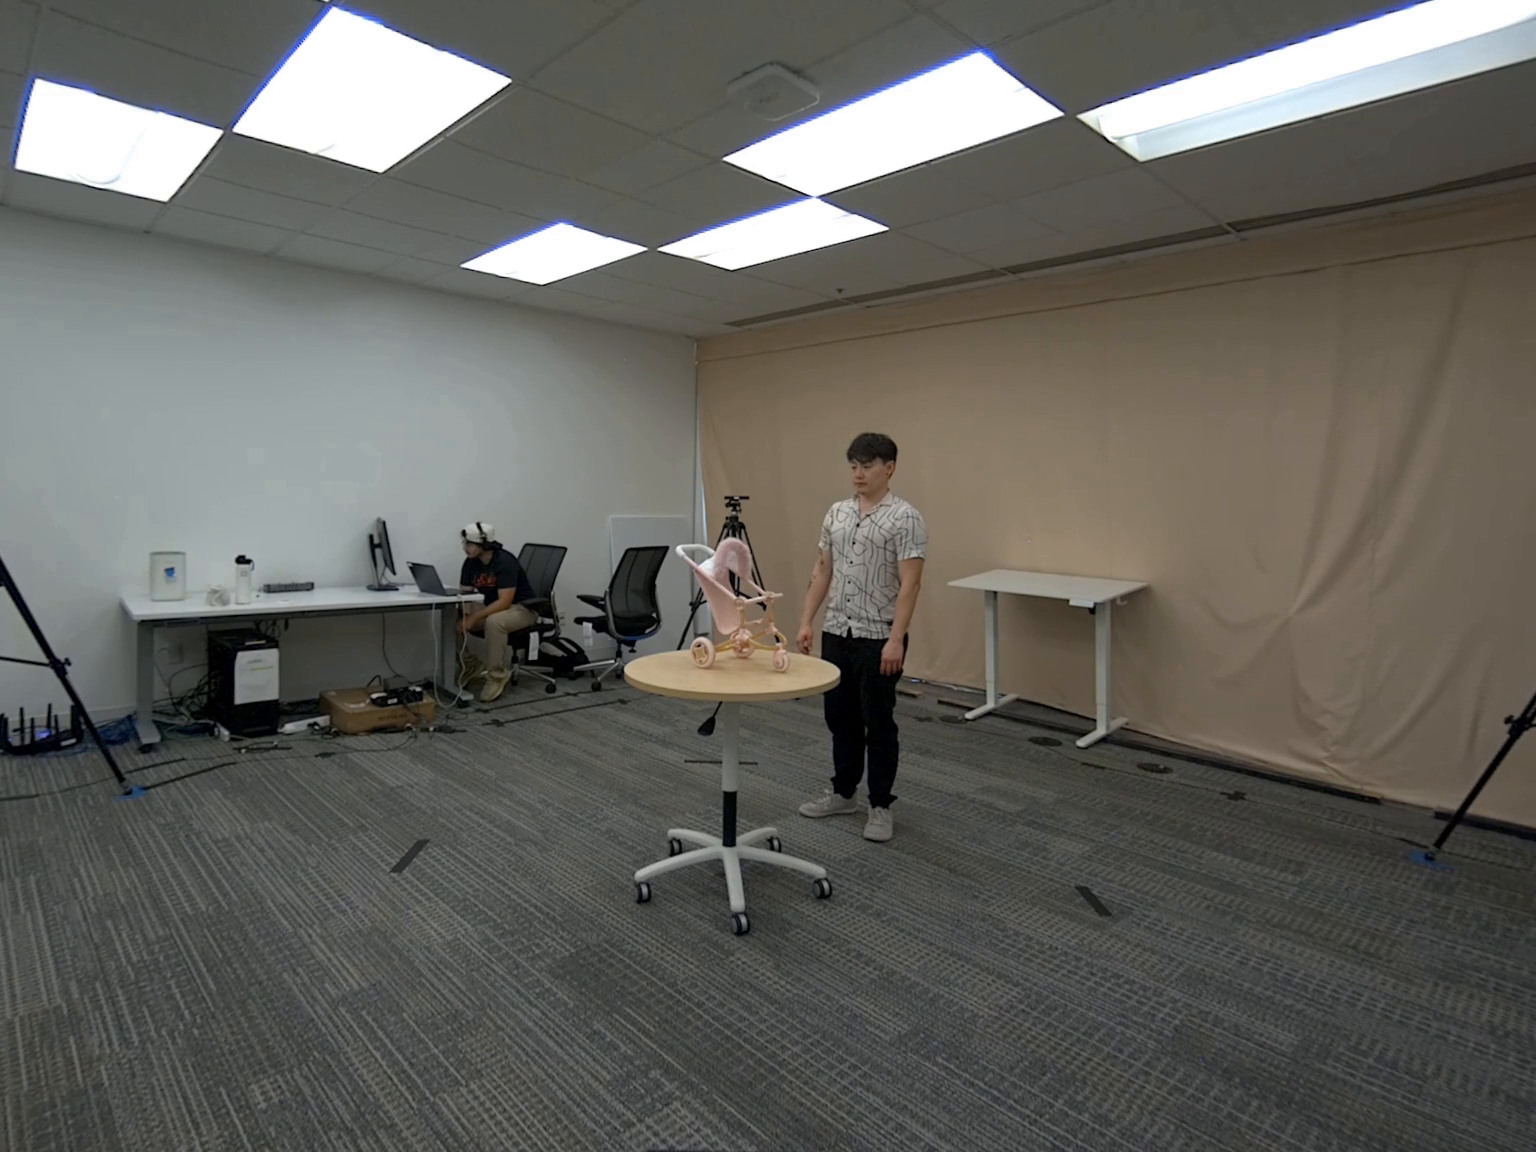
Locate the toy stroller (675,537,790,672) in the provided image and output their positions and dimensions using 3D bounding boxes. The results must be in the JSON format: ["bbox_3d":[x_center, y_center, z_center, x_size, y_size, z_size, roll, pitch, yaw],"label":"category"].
[{"bbox_3d":[-0.118,0.102,3.036,0.346,0.538,0.275,-18,-8,38],"label":"toy stroller"}]
